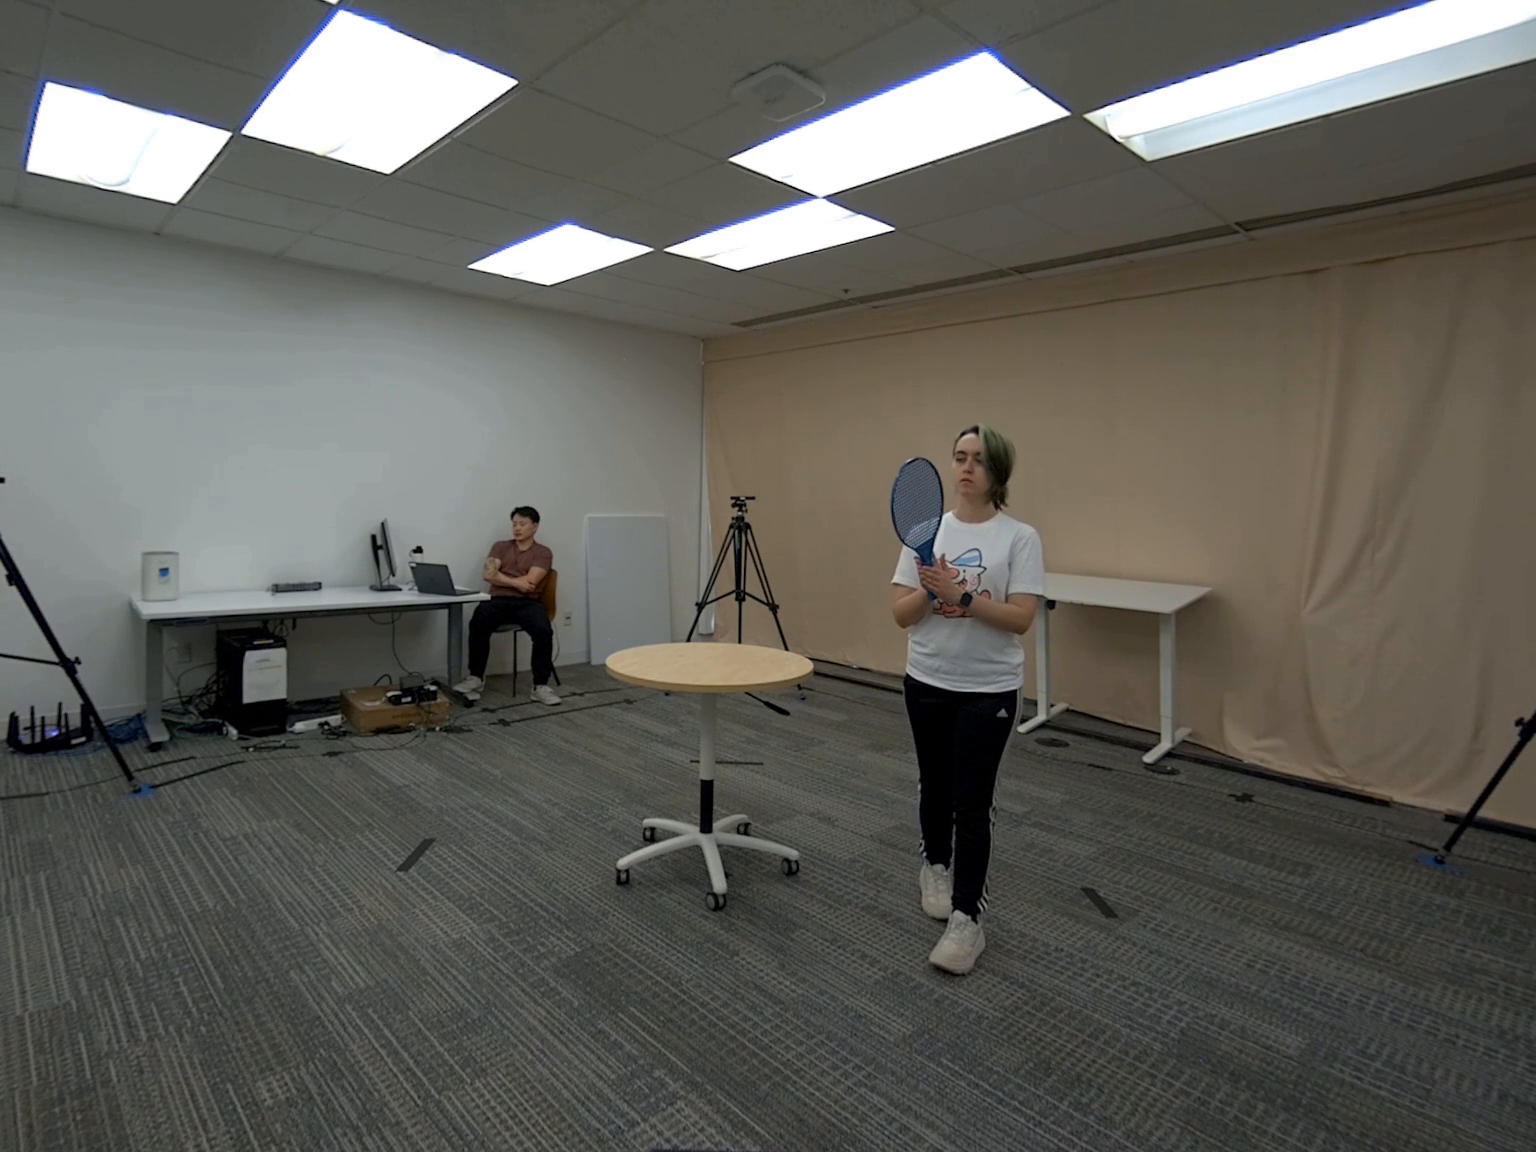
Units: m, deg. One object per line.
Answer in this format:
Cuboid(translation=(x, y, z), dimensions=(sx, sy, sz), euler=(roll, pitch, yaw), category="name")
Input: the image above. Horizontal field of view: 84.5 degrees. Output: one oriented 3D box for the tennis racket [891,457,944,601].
Cuboid(translation=(0.433, -0.129, 2.386), dimensions=(0.212, 0.424, 0.032), euler=(-32, 29, -30), category="tennis racket")
